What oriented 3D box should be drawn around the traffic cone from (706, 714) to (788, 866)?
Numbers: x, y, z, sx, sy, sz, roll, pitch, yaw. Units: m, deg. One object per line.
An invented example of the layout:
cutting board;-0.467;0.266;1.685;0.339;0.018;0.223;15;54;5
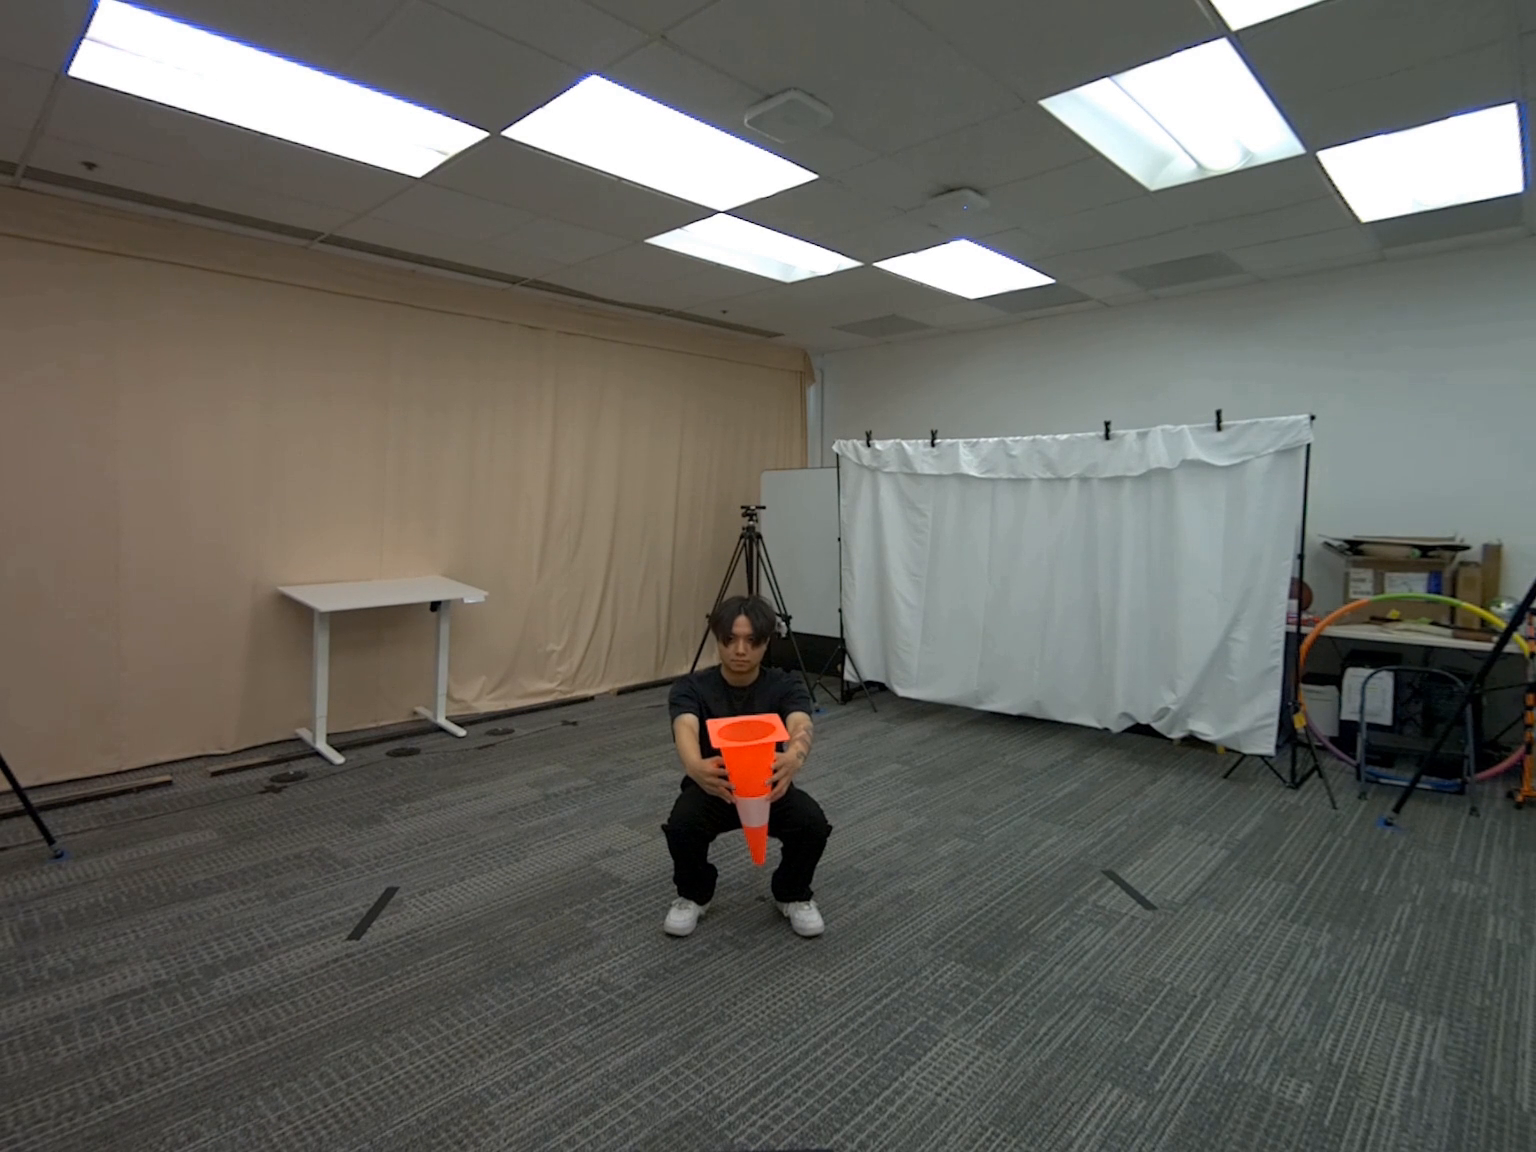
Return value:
traffic cone;-0.045;0.592;2.243;0.203;0.381;0.206;-5;10;-7
